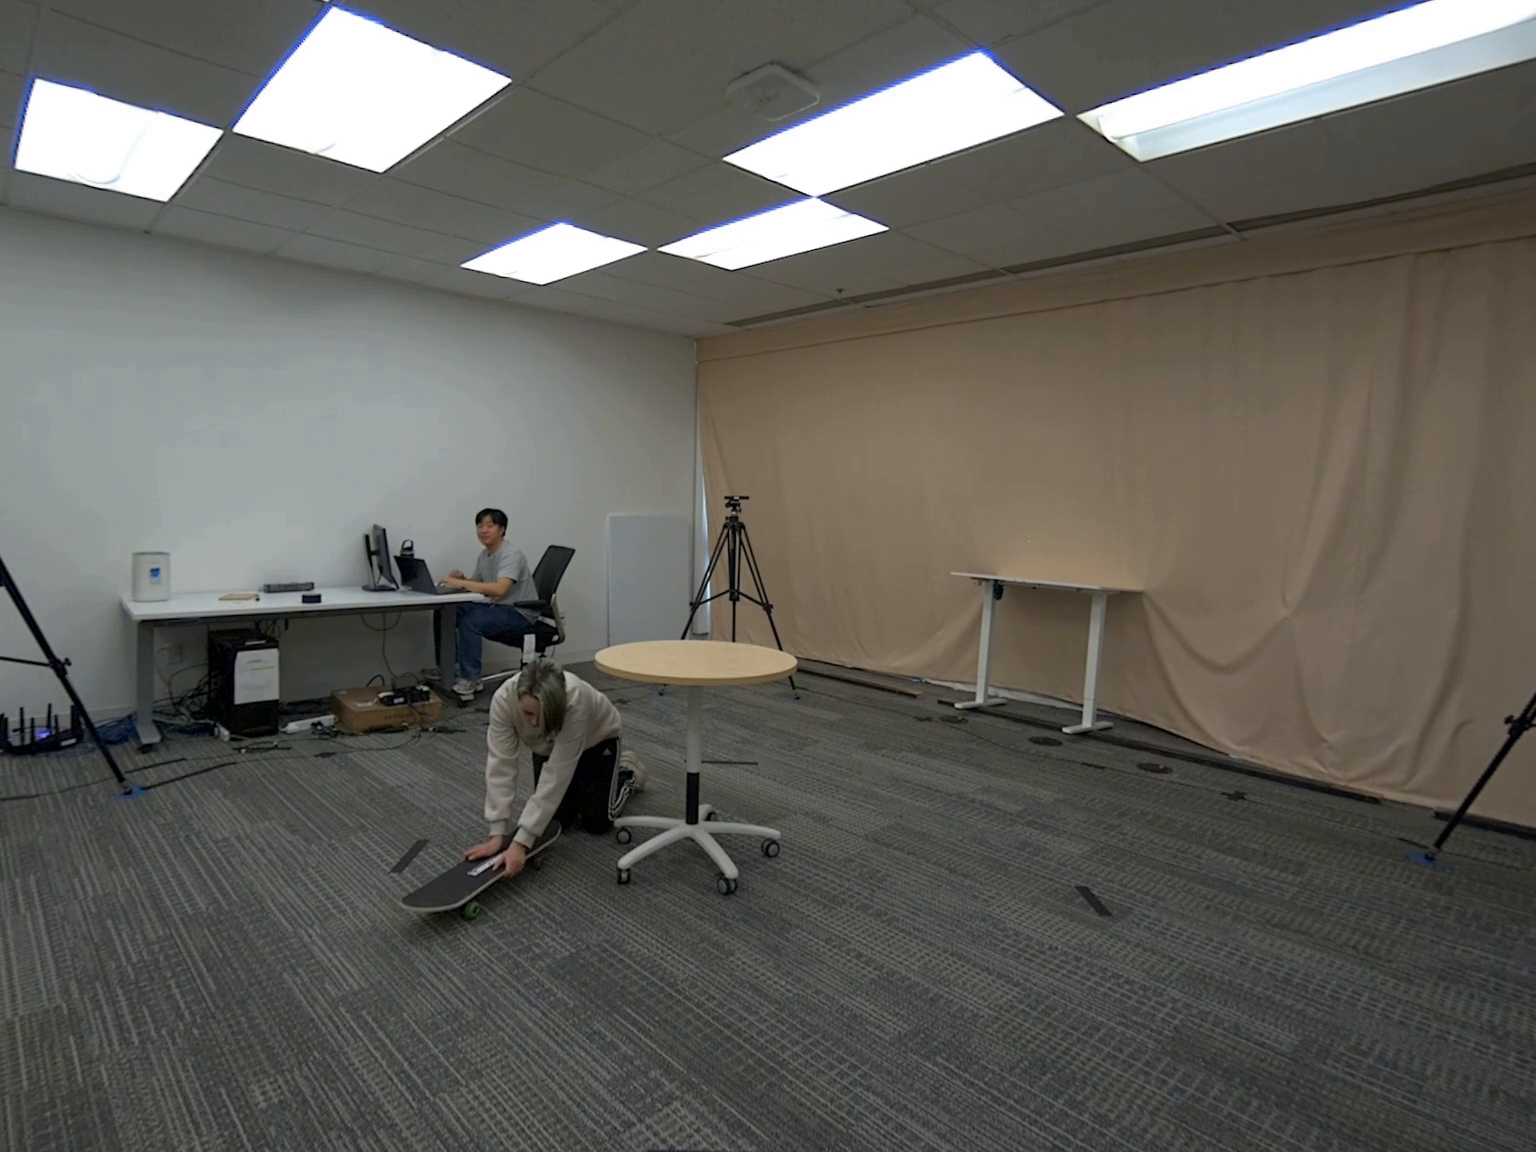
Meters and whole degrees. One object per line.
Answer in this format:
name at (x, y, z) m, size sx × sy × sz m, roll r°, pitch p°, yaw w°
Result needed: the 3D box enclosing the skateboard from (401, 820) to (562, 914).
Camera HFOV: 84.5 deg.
skateboard at (-0.976, 1.031, 2.964) m, size 0.196 × 0.110 × 0.776 m, roll 1°, pitch 5°, yaw 17°
